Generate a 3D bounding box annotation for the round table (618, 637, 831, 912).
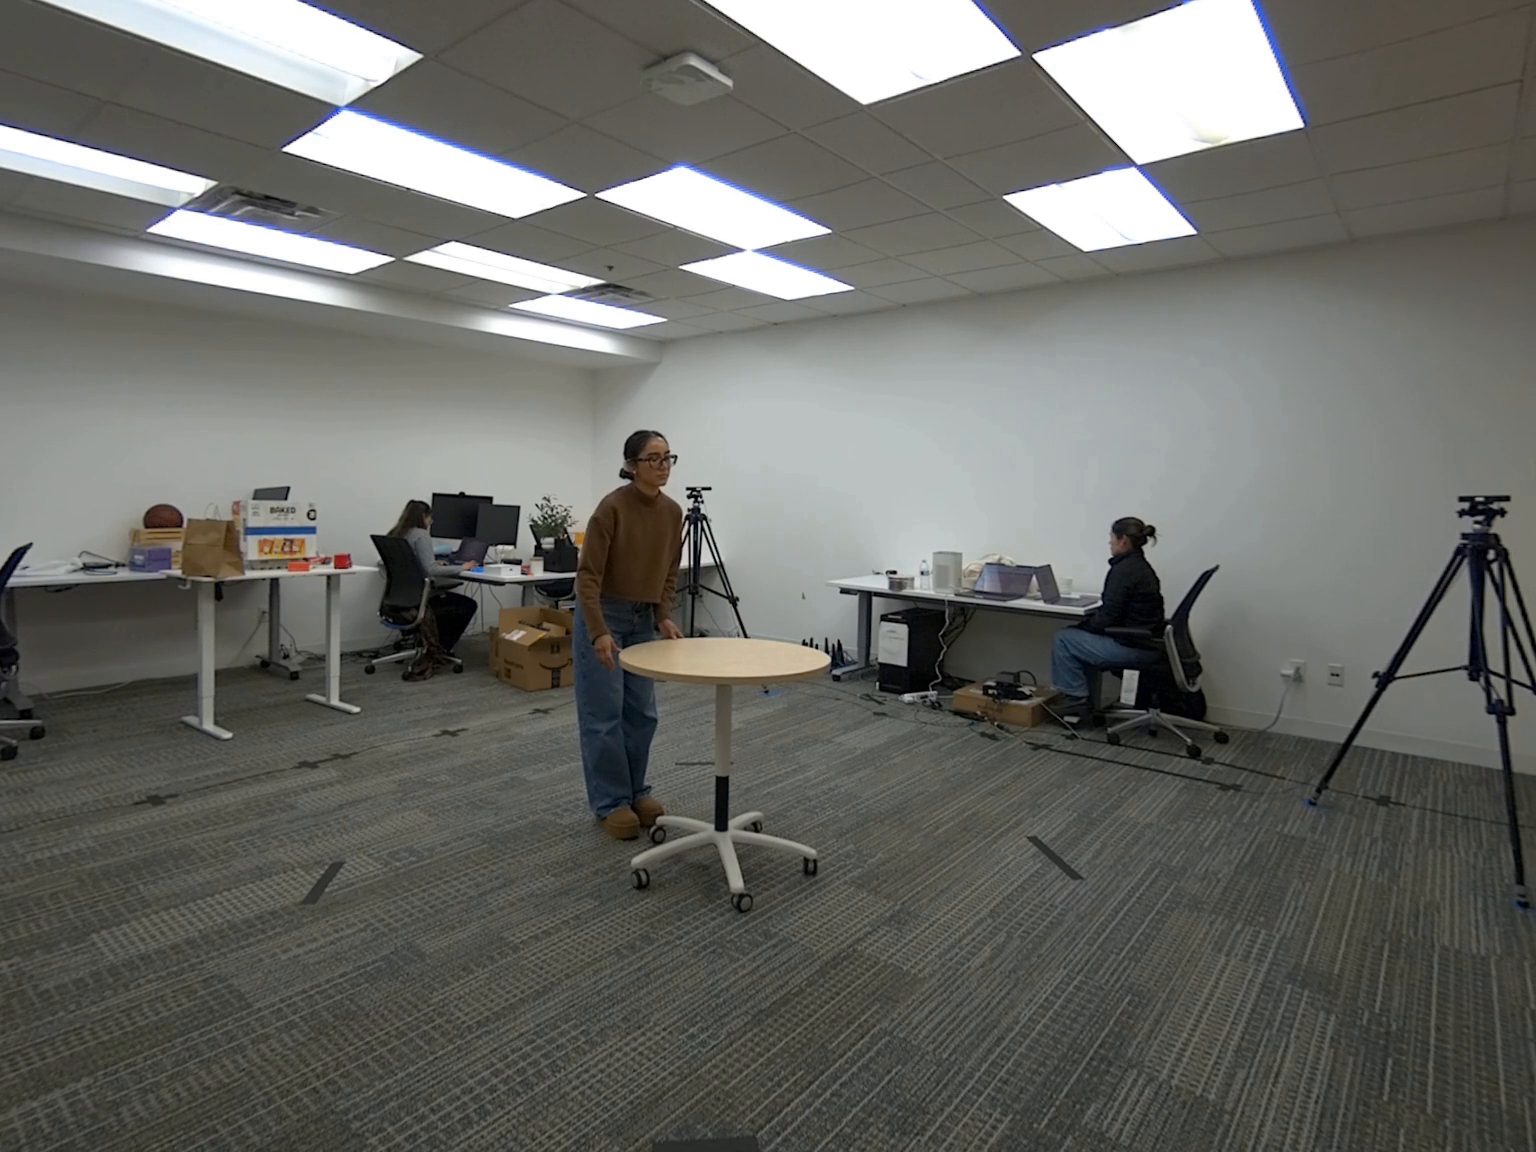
[{"bbox_3d":[-0.170,0.678,3.099,0.763,0.792,0.767,1,4,-2],"label":"round table"}]
